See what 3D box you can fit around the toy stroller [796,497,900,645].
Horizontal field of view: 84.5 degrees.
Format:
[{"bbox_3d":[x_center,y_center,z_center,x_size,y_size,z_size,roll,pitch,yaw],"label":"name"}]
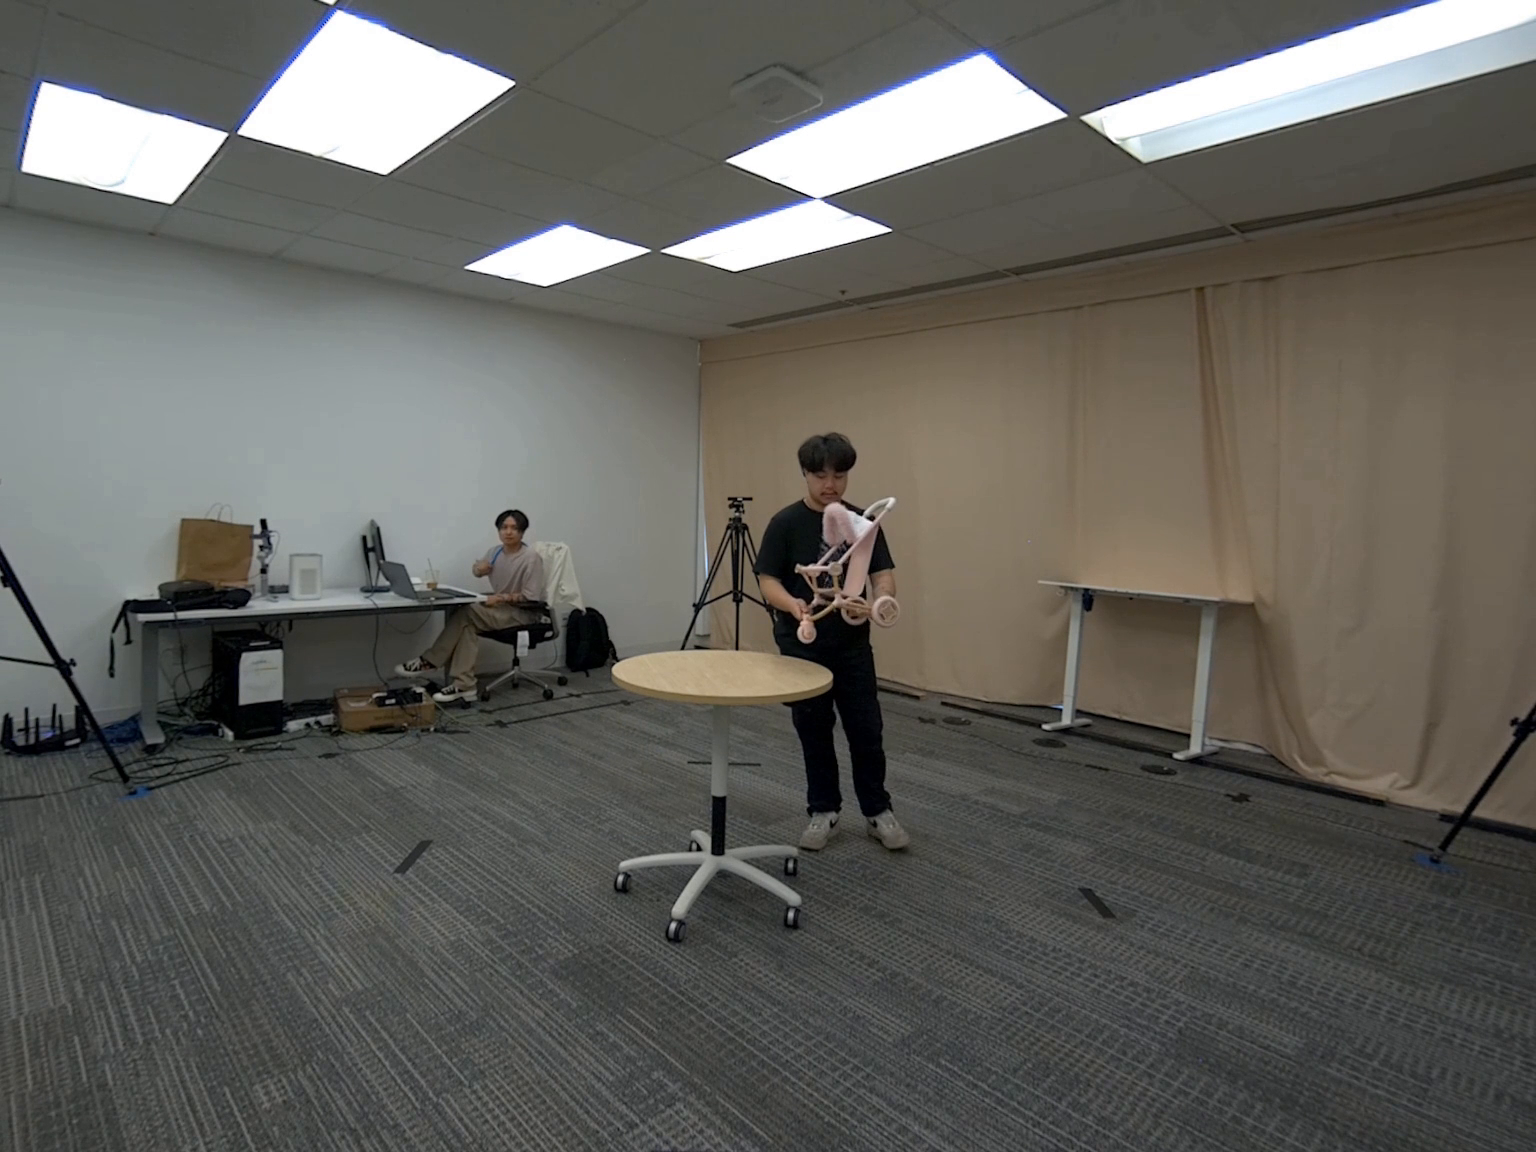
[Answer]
[{"bbox_3d":[0.250,-0.023,3.039,0.338,0.536,0.284,3,-3,-13],"label":"toy stroller"}]
